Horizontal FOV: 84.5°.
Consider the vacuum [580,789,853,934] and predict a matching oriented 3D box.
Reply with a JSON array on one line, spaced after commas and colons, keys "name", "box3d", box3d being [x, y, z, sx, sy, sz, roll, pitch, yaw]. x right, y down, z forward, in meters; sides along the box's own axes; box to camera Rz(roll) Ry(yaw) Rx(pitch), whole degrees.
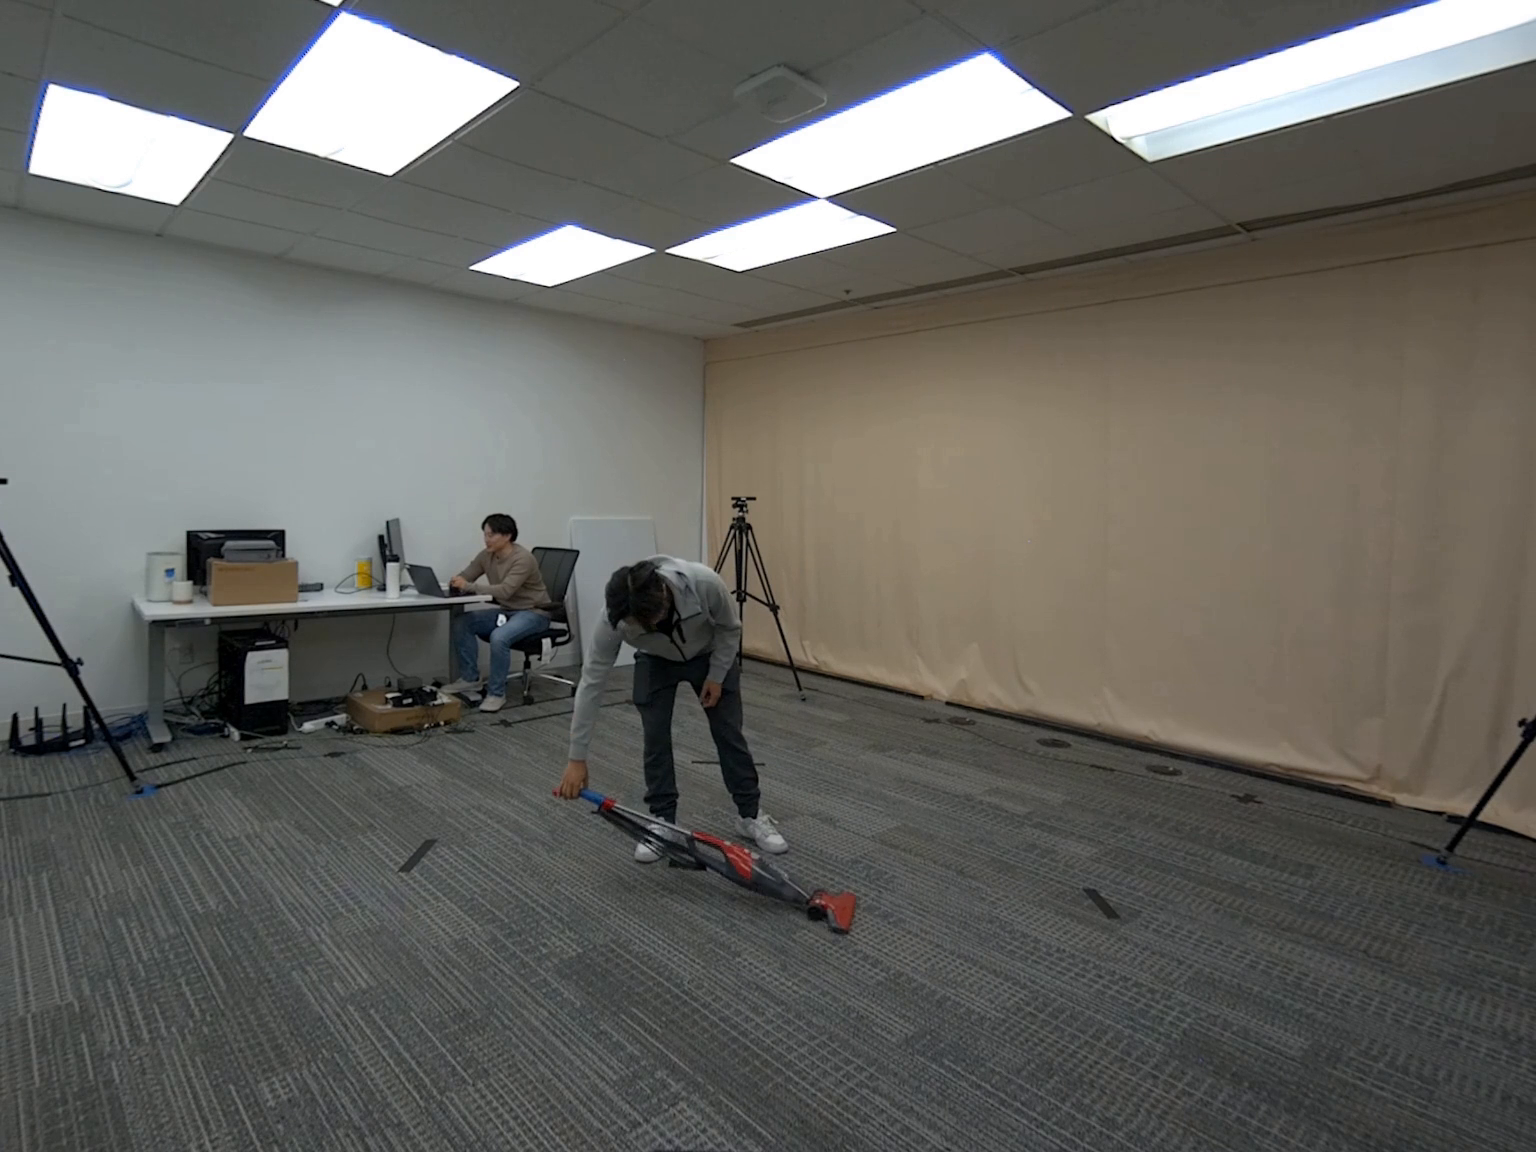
[{"name": "vacuum", "box3d": [-0.275, 0.957, 2.959, 1.062, 0.143, 0.251, 17, 16, 12]}]
